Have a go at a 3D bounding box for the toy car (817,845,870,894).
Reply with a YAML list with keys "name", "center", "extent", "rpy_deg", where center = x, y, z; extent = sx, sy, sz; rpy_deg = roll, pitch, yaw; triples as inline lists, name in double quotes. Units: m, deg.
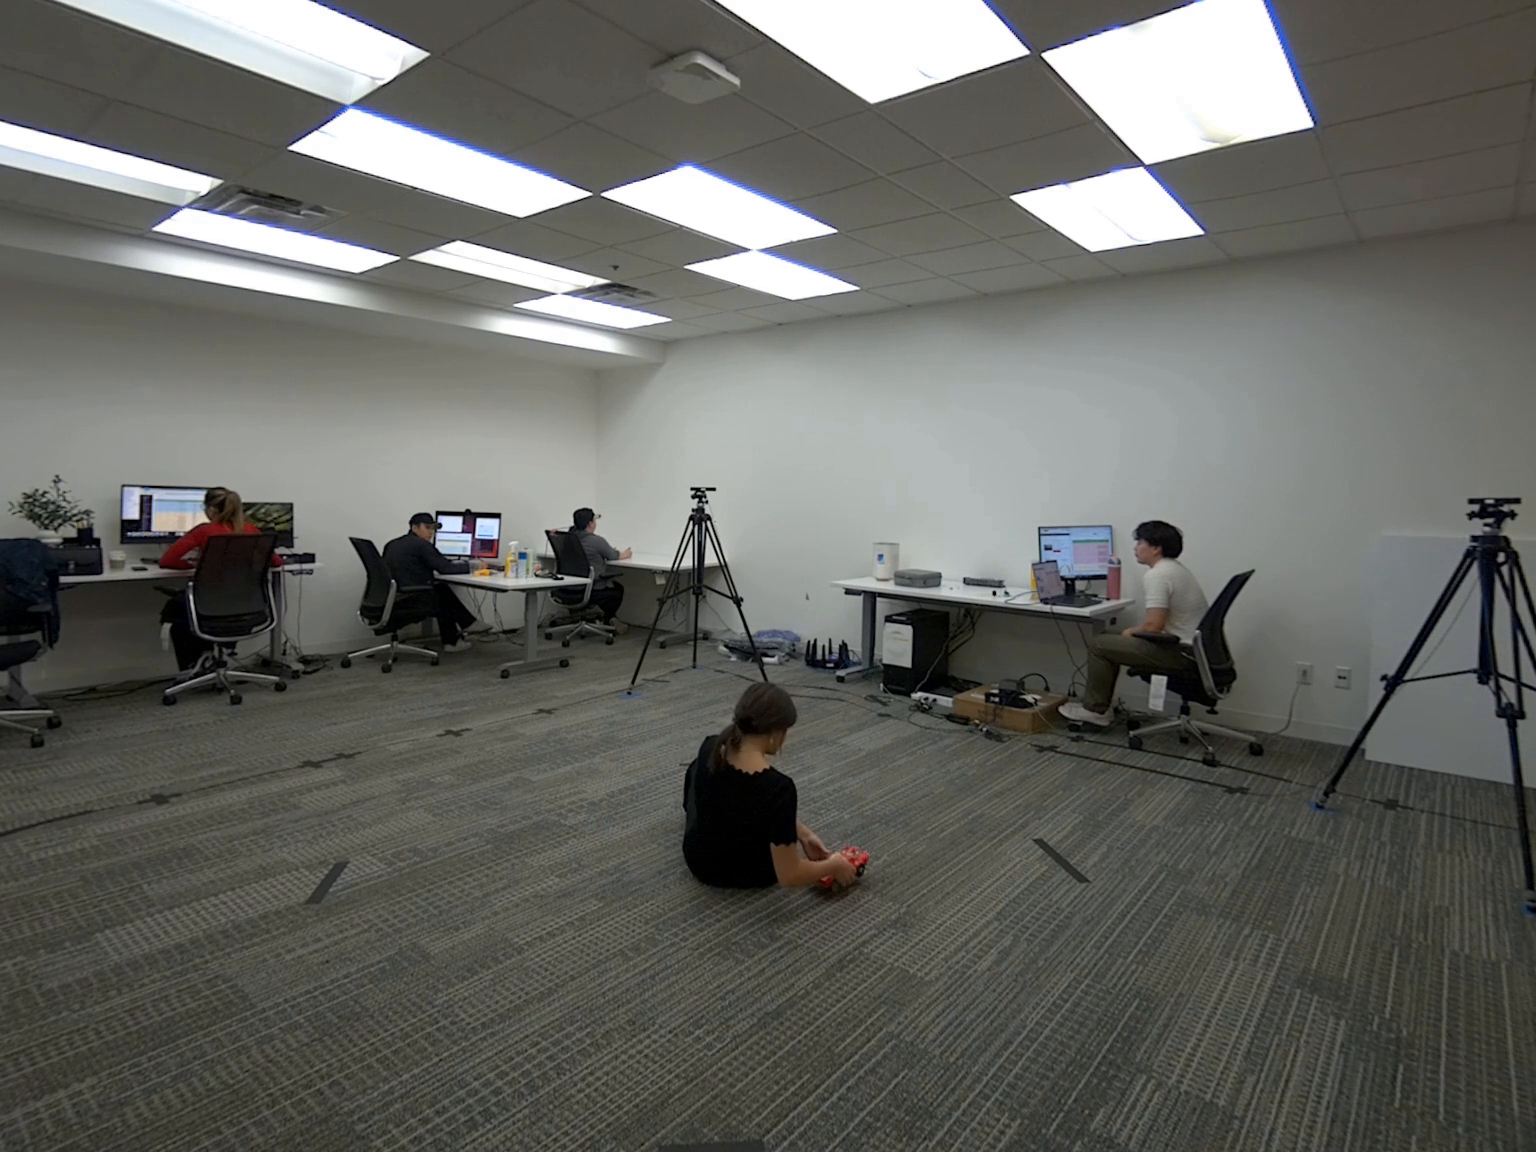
- name: "toy car"
  center: [0.251, 1.025, 3.011]
  extent: [0.250, 0.082, 0.135]
  rpy_deg: [-24, 22, -39]
